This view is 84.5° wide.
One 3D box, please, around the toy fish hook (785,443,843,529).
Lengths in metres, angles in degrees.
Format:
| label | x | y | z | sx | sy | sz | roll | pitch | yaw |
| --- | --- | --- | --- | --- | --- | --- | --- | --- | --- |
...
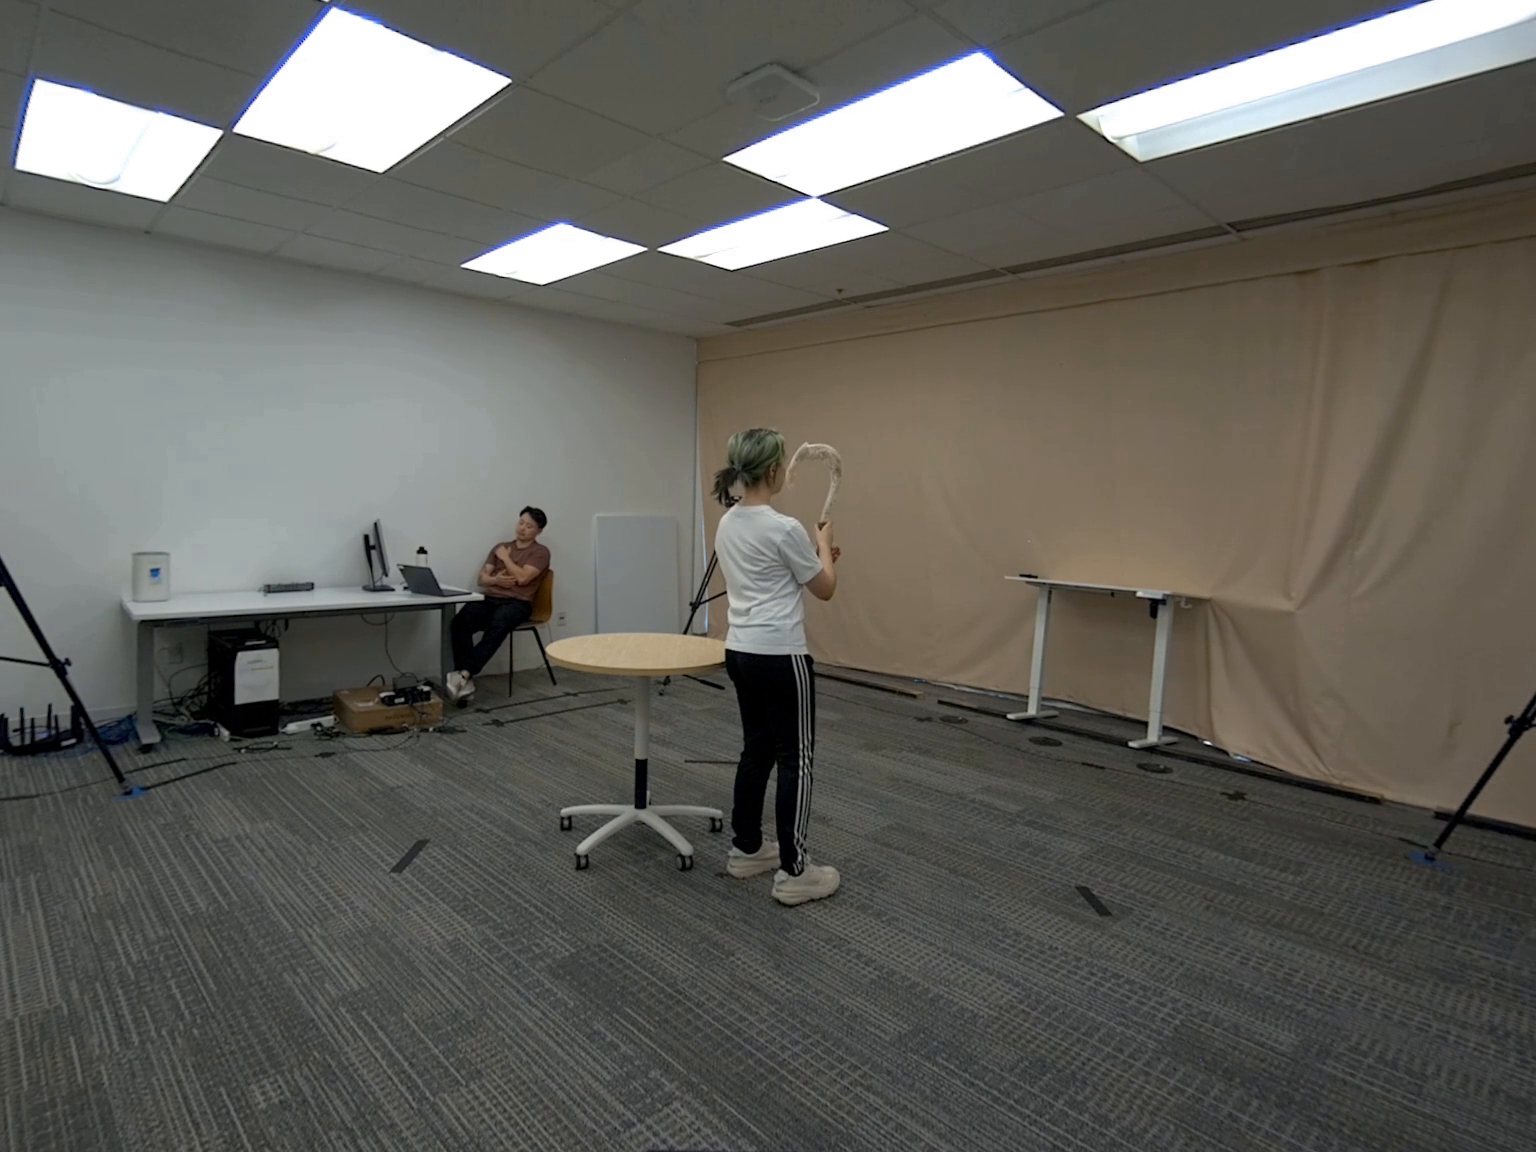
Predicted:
| label | x | y | z | sx | sy | sz | roll | pitch | yaw |
| --- | --- | --- | --- | --- | --- | --- | --- | --- | --- |
| toy fish hook | 0.176 | -0.262 | 3.258 | 0.225 | 0.509 | 0.048 | 5 | -7 | 2 |
